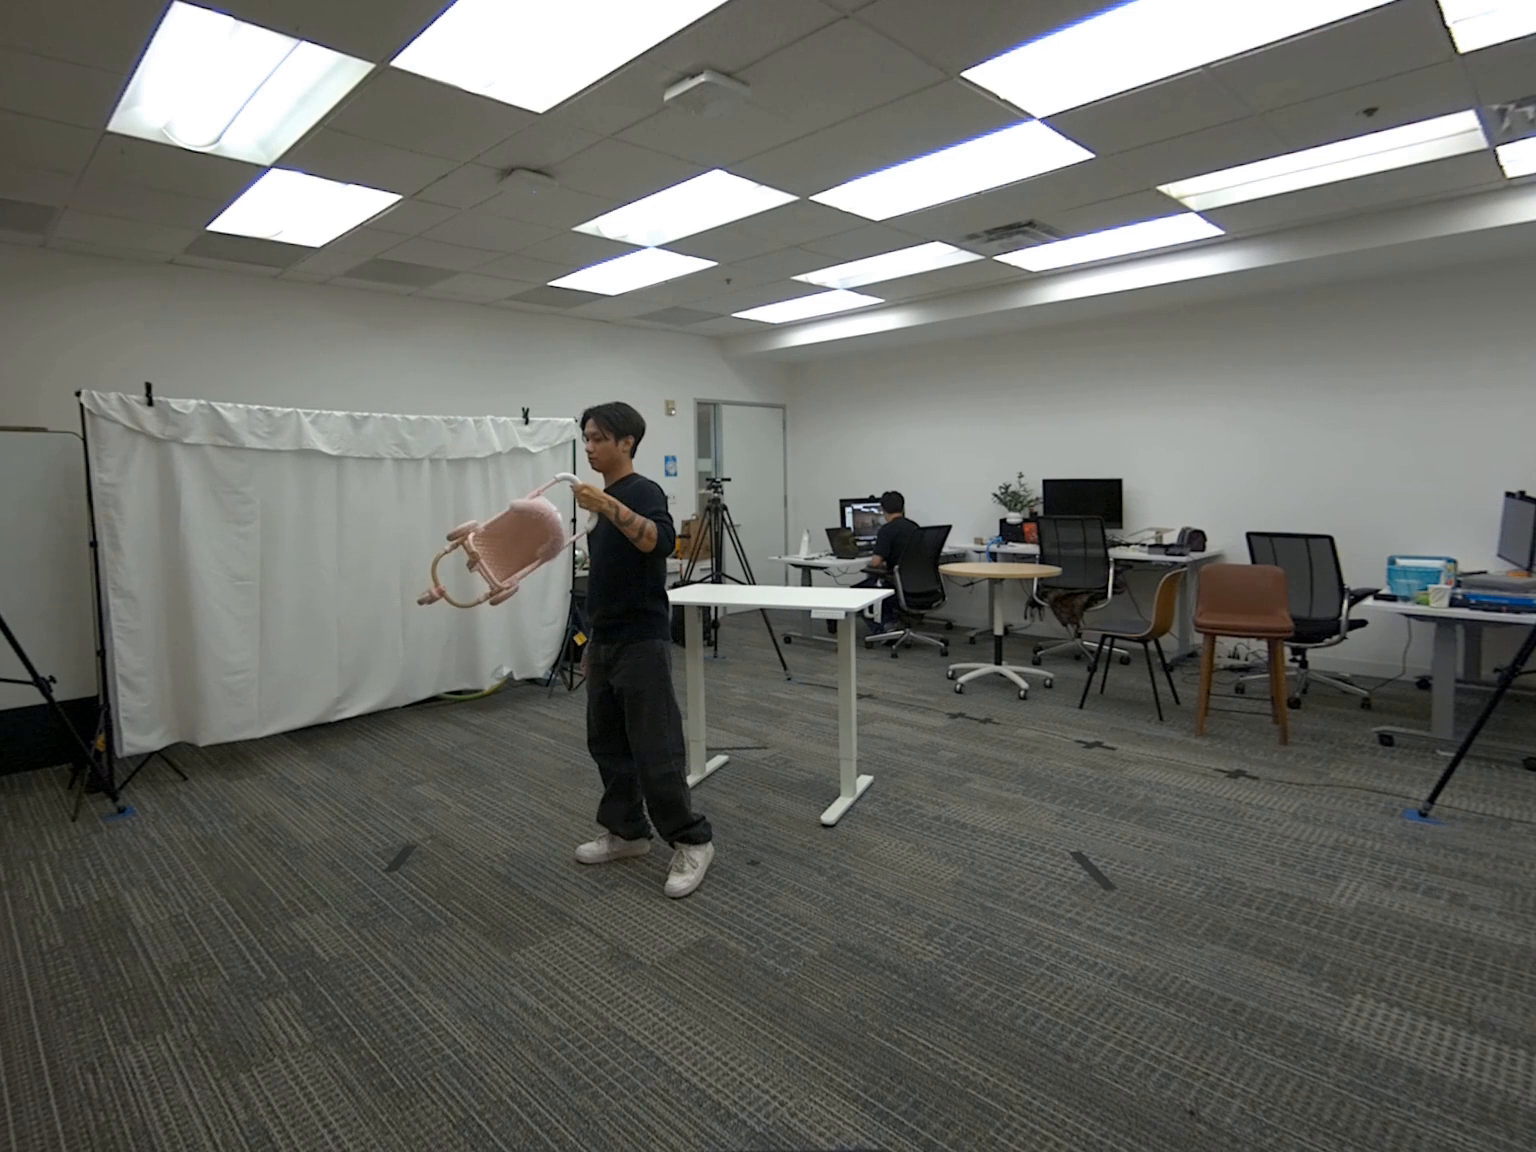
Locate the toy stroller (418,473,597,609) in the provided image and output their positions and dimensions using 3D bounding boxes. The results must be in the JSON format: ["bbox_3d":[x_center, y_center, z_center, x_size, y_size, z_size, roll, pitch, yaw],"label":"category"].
[{"bbox_3d":[-0.813,-0.079,2.635,0.538,0.279,0.342,-29,7,16],"label":"toy stroller"}]
